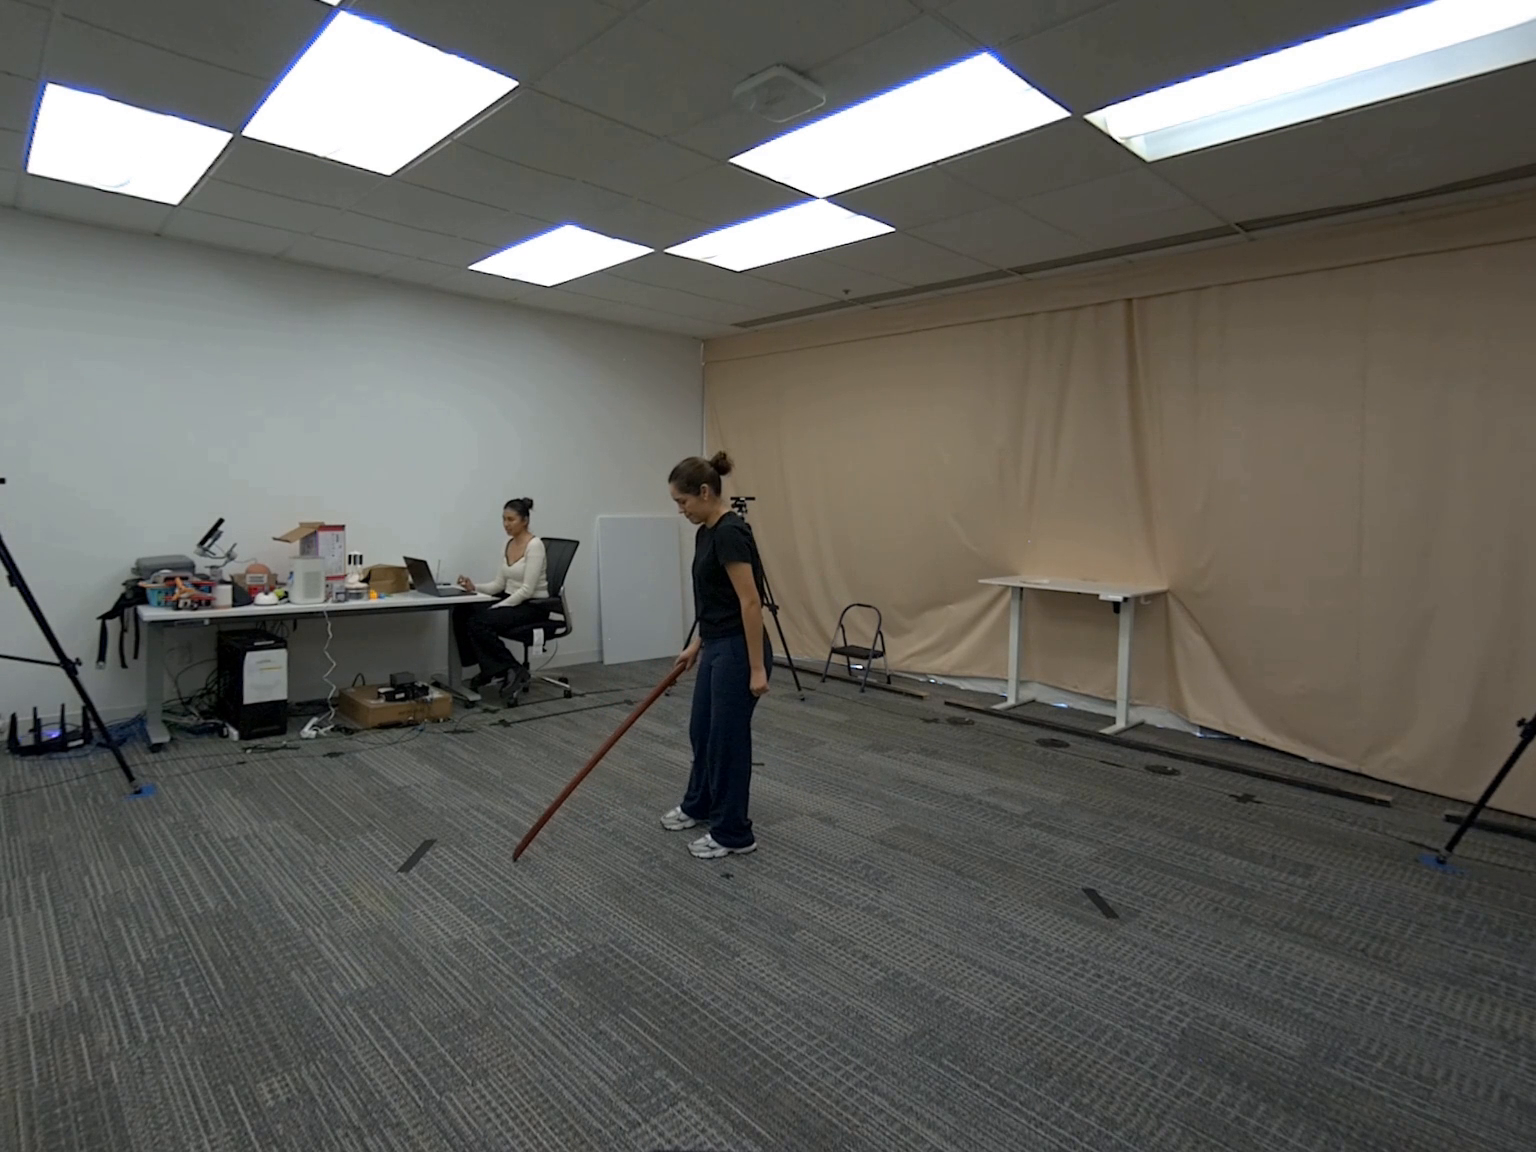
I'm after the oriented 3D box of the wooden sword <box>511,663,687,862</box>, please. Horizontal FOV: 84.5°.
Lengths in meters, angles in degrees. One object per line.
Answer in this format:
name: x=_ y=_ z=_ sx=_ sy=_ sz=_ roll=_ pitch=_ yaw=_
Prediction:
wooden sword: x=-0.639 y=0.684 z=3.293 sx=0.024 sy=1.025 sz=0.051 roll=41 pitch=-15 yaw=2
